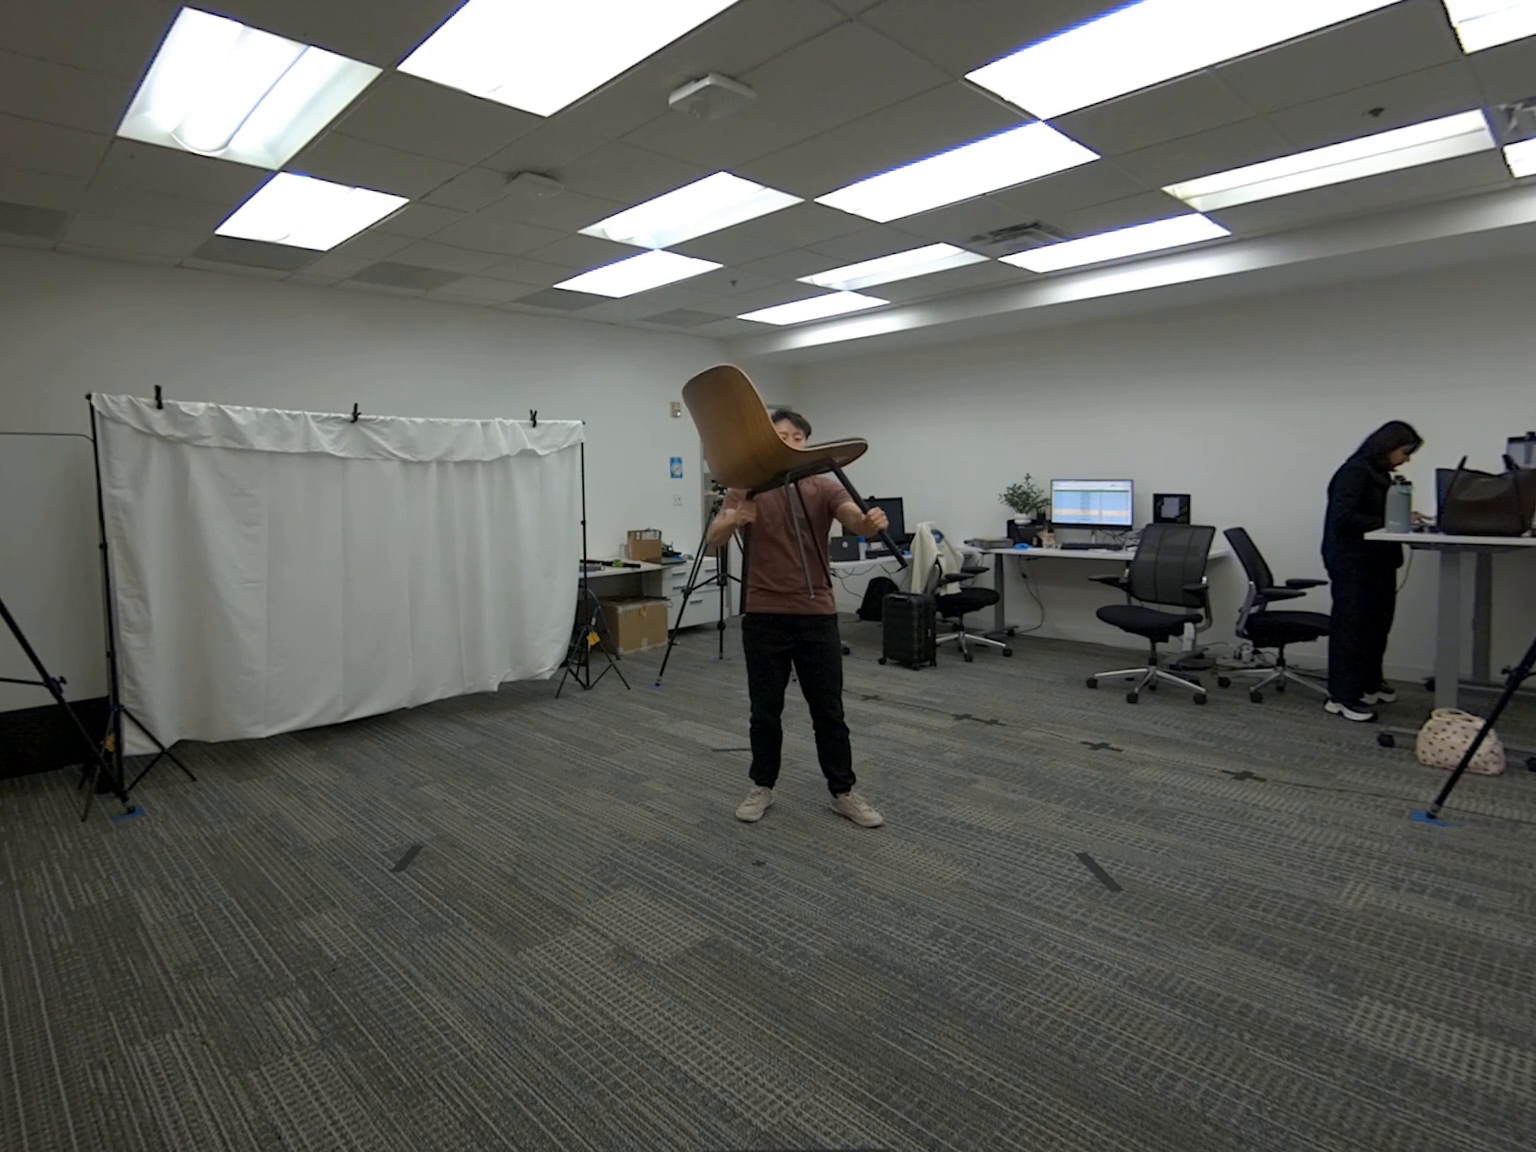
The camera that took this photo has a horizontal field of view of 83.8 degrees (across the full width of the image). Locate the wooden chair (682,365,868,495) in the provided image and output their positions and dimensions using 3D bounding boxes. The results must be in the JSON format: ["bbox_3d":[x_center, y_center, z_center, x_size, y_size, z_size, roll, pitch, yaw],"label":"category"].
[{"bbox_3d":[0.079,-0.354,3.097,0.514,0.880,0.485,-19,-2,-34],"label":"wooden chair"}]
